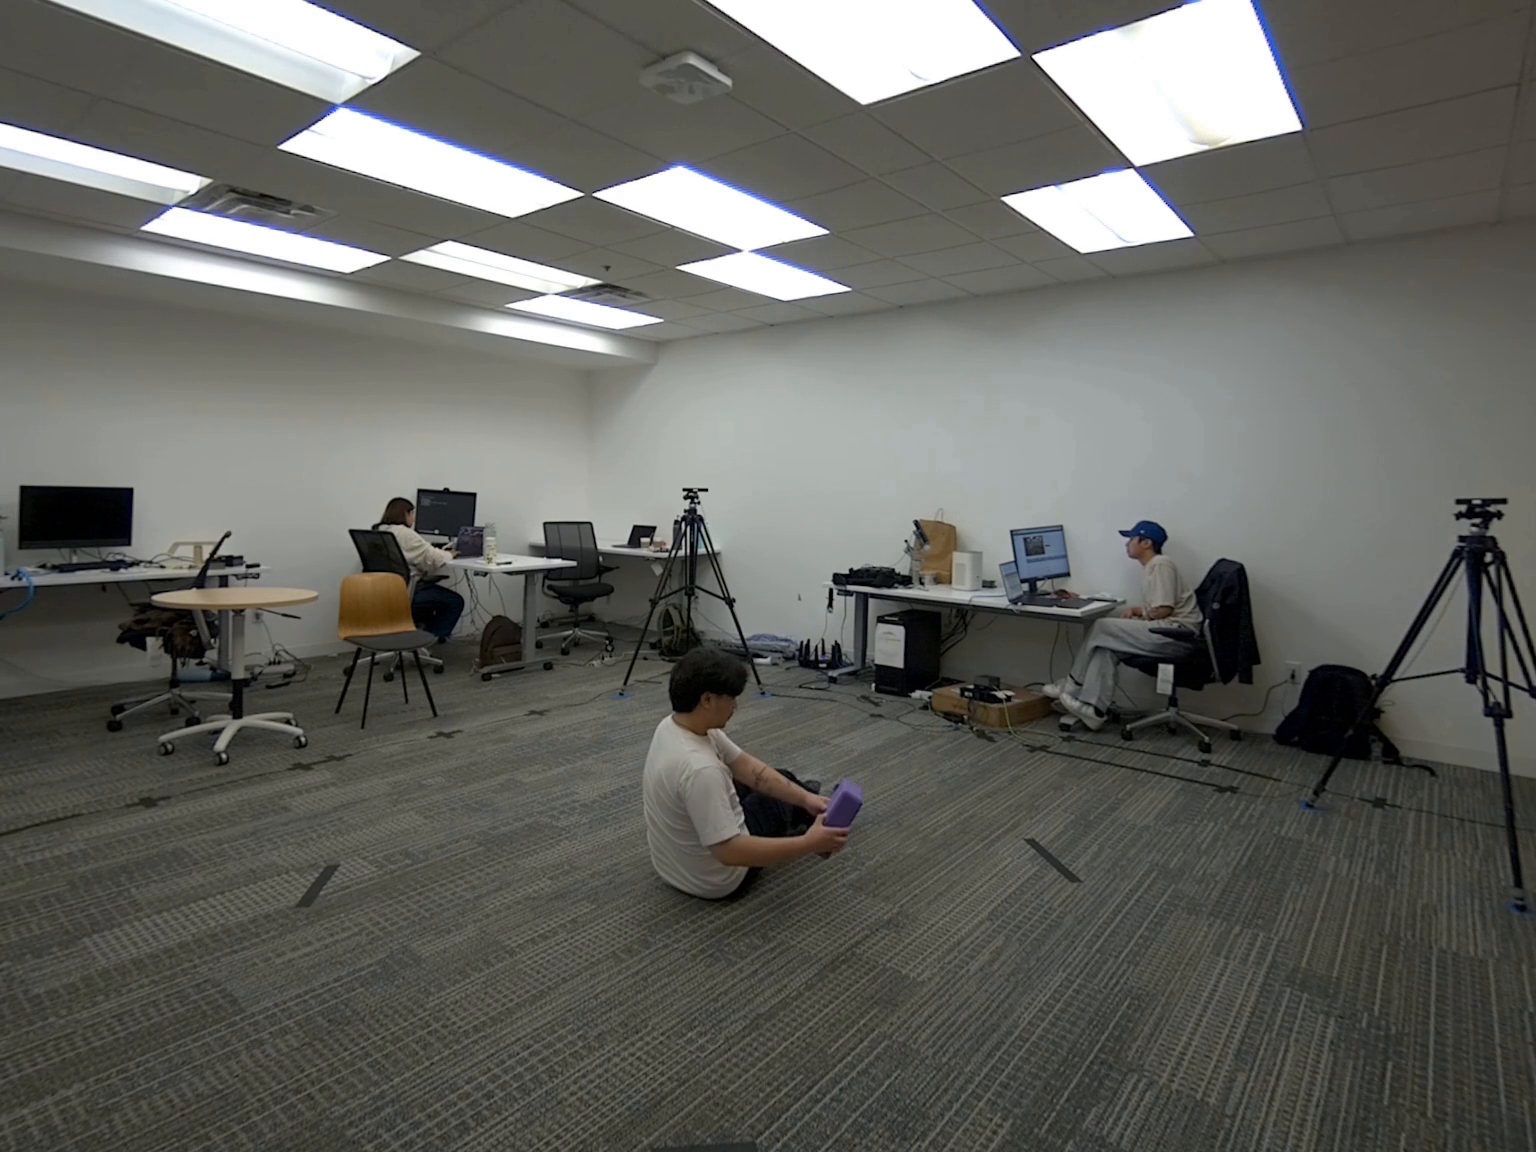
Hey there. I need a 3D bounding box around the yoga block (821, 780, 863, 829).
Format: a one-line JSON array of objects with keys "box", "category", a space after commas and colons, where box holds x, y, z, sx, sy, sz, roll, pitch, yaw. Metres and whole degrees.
[{"box": [0.215, 0.799, 2.796, 0.077, 0.229, 0.148, 30, 7, 4], "category": "yoga block"}]
